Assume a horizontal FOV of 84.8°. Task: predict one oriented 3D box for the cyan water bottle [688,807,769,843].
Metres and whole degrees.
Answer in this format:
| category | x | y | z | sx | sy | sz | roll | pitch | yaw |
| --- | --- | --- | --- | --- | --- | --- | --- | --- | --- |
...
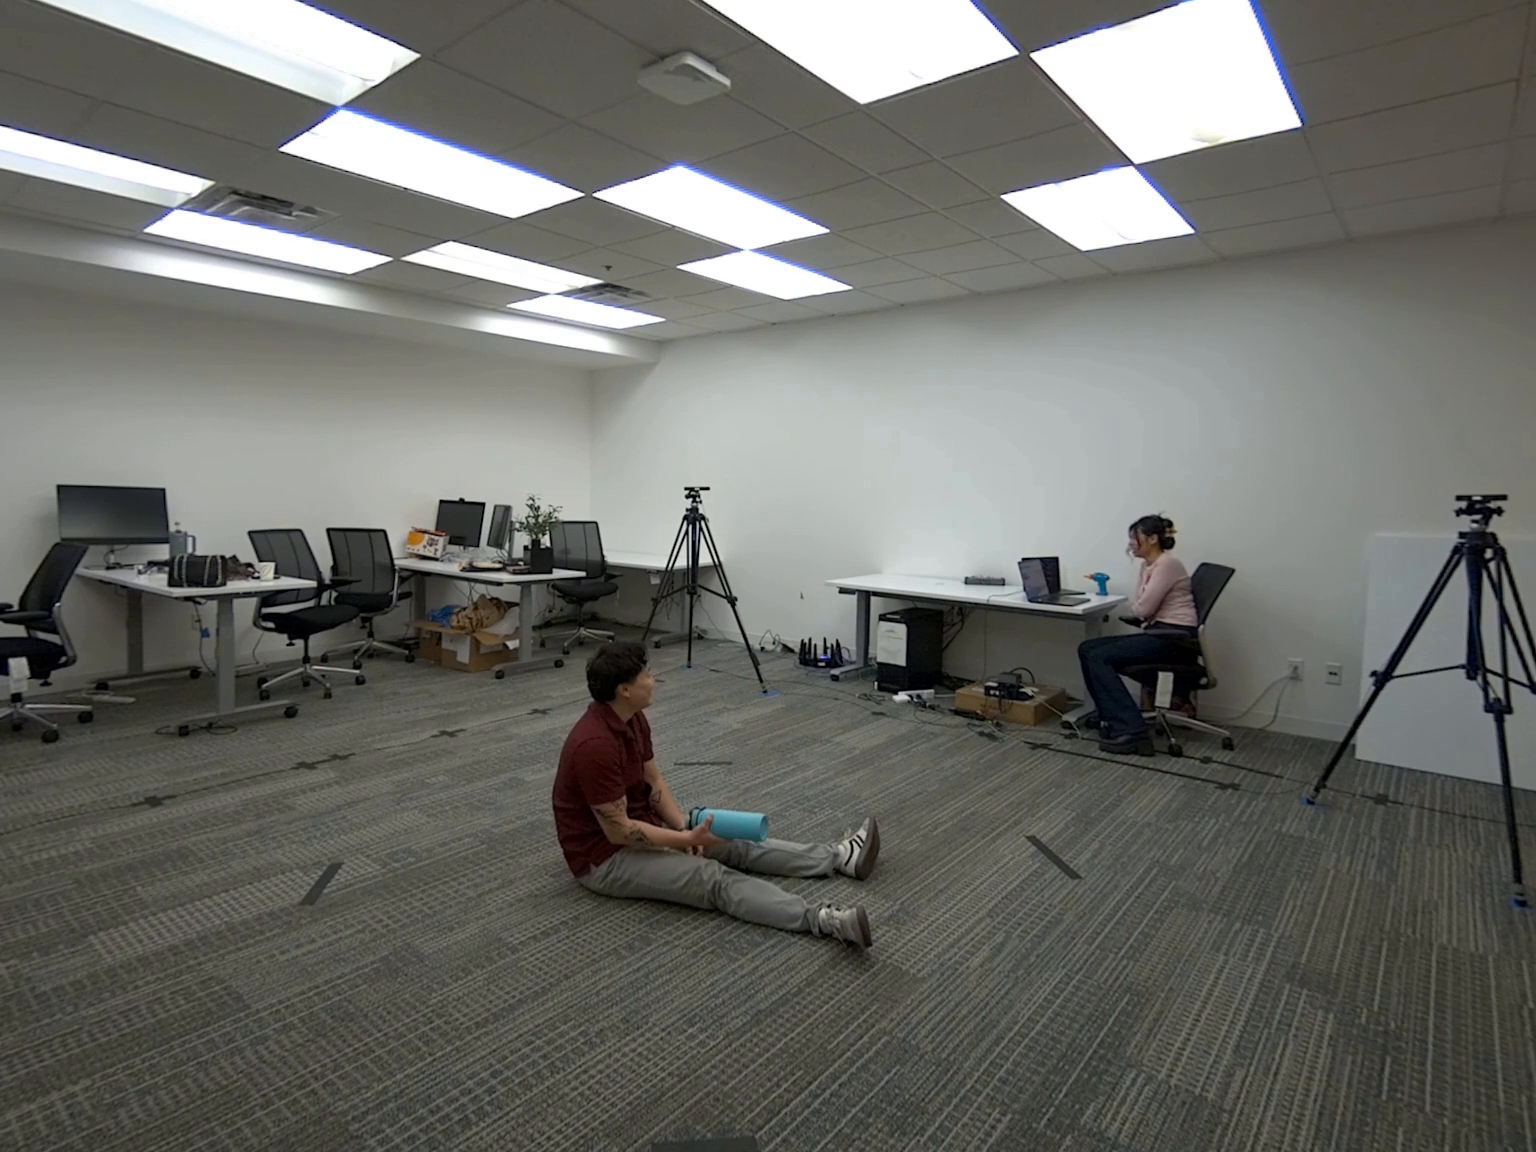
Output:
| category | x | y | z | sx | sy | sz | roll | pitch | yaw |
| --- | --- | --- | --- | --- | --- | --- | --- | --- | --- |
| cyan water bottle | -0.152 | 0.833 | 2.873 | 0.290 | 0.092 | 0.090 | -1 | 3 | 23 |
